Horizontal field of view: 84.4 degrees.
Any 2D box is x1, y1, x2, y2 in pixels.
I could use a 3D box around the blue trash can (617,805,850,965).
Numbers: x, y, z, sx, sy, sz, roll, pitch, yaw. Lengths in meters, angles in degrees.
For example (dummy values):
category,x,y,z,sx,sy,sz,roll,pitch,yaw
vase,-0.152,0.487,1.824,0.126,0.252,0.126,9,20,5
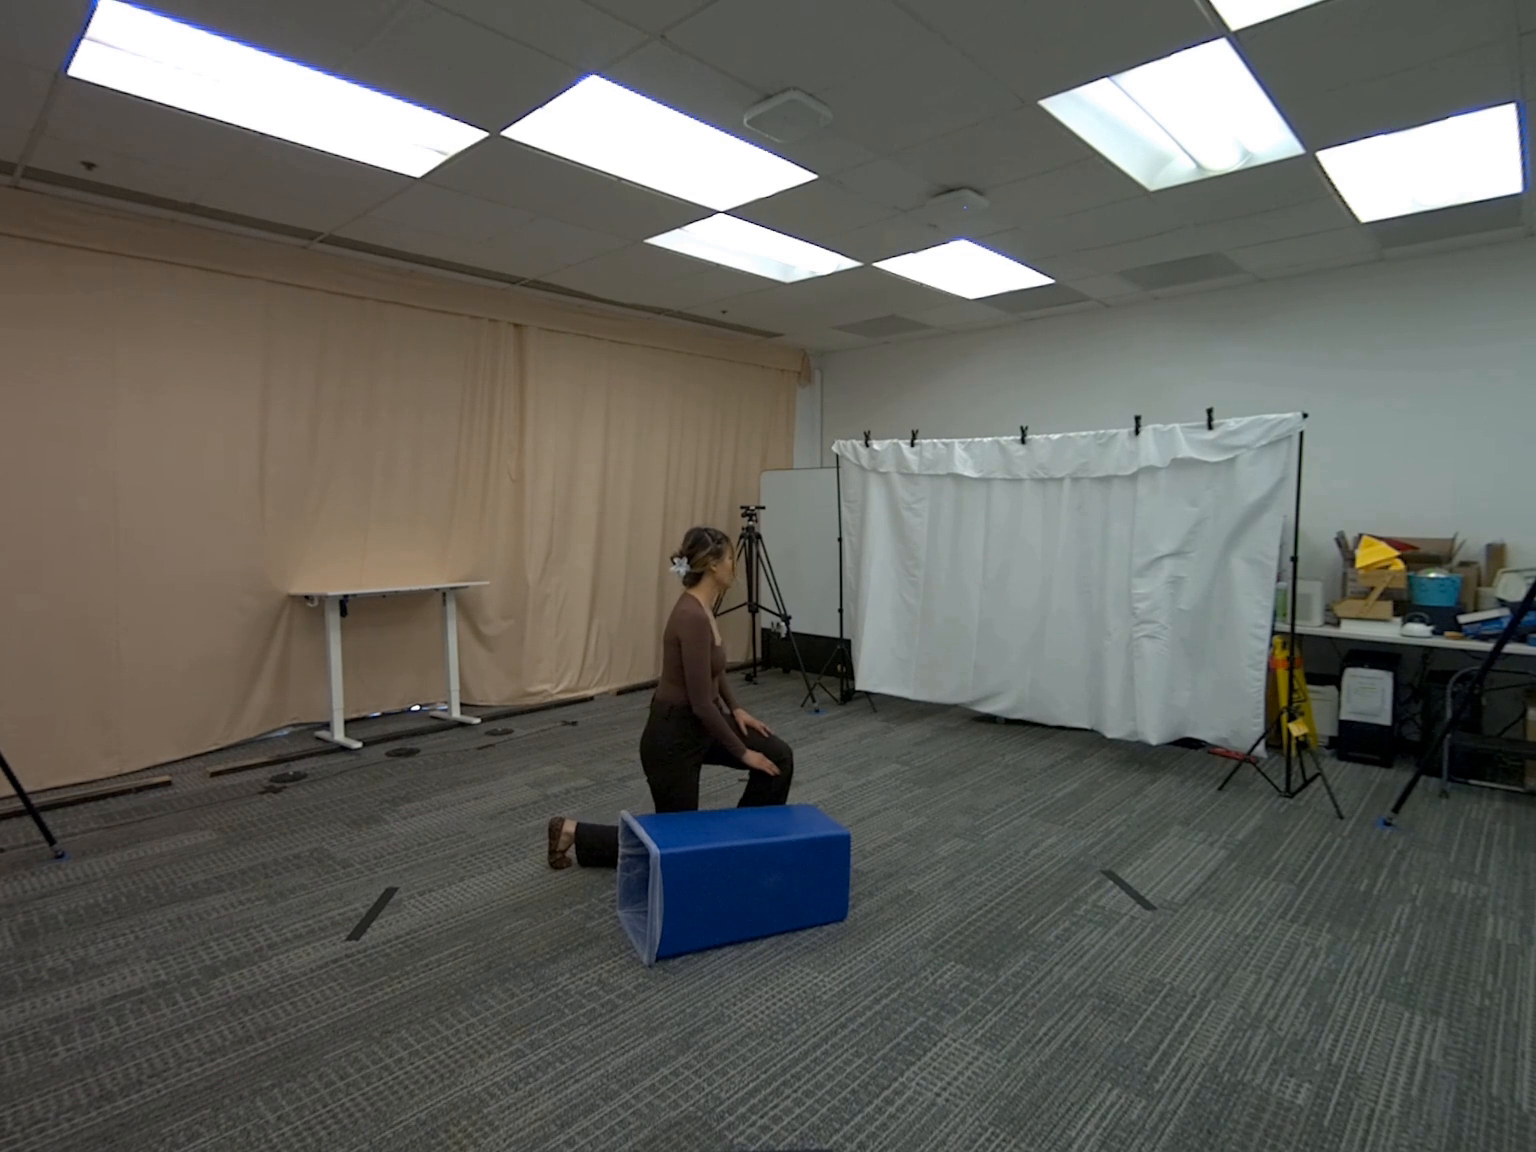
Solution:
category,x,y,z,sx,sy,sz,roll,pitch,yaw
blue trash can,-0.108,0.984,2.816,0.698,0.377,0.383,0,3,-22
